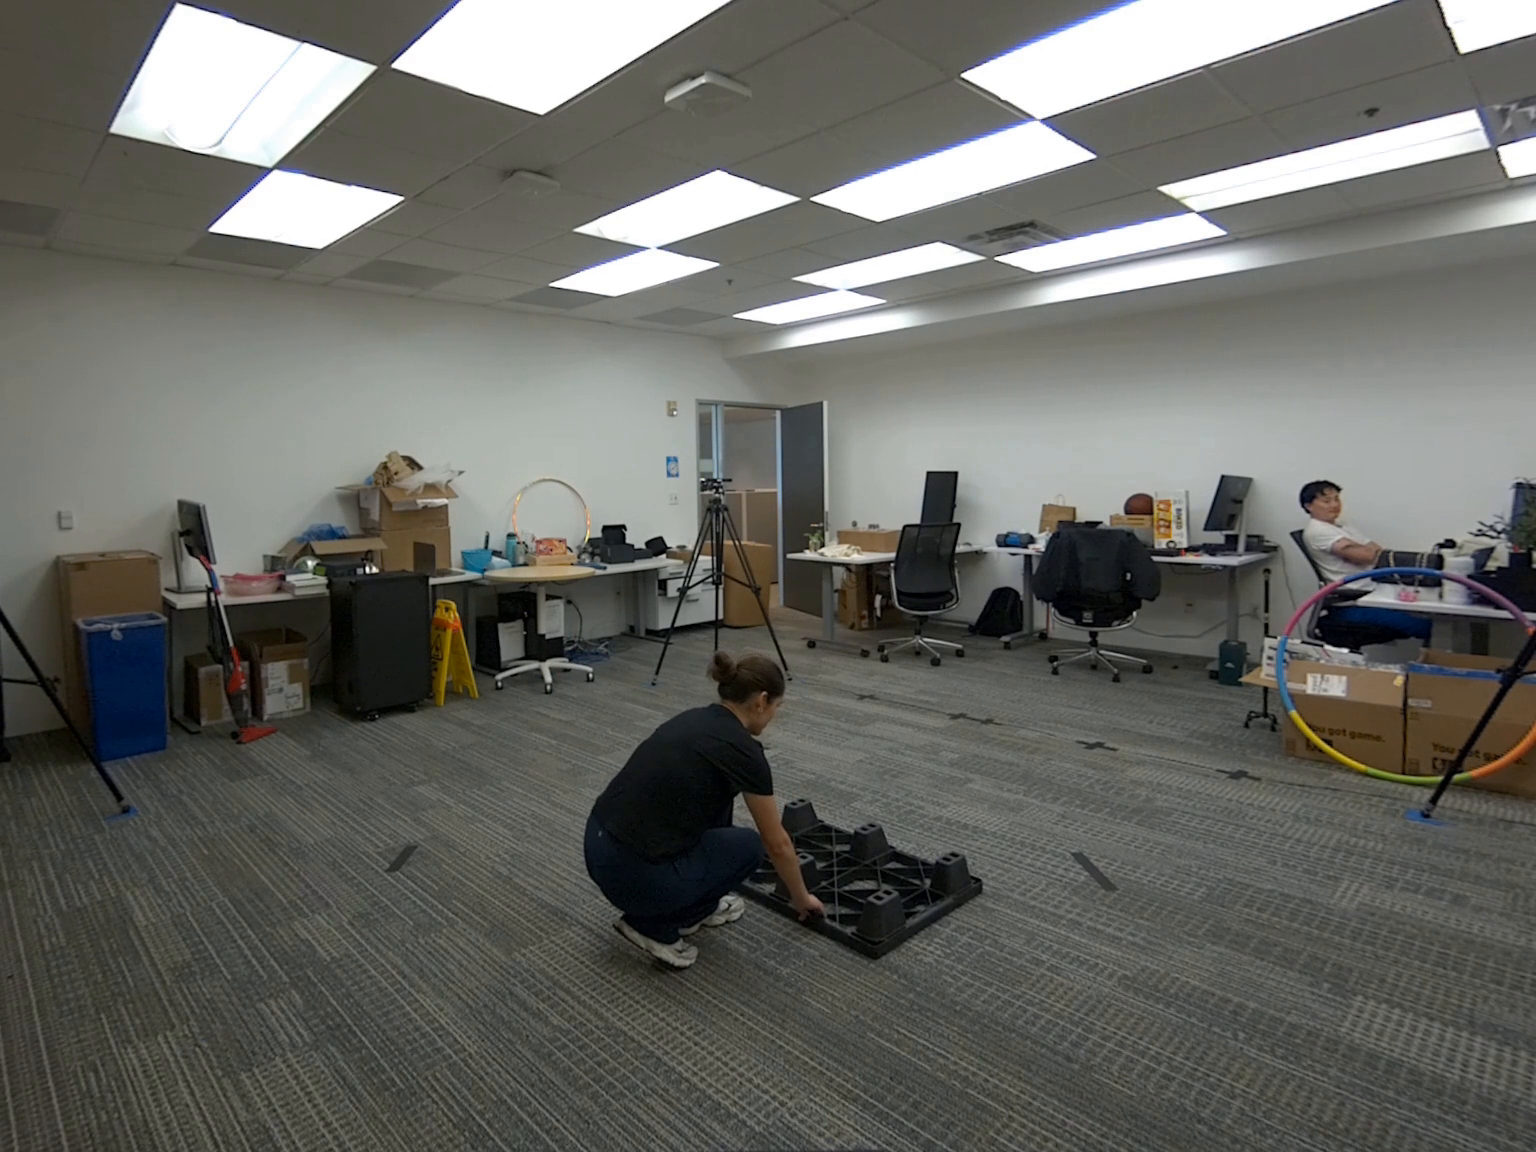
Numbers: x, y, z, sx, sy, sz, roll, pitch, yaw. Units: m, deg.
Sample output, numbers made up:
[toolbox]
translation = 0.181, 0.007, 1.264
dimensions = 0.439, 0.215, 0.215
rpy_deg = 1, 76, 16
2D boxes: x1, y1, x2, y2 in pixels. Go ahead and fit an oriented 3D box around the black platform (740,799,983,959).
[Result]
[black platform]
translation = 0.238, 0.990, 2.970
dimensions = 0.589, 0.142, 0.831
rpy_deg = -8, 10, -44
